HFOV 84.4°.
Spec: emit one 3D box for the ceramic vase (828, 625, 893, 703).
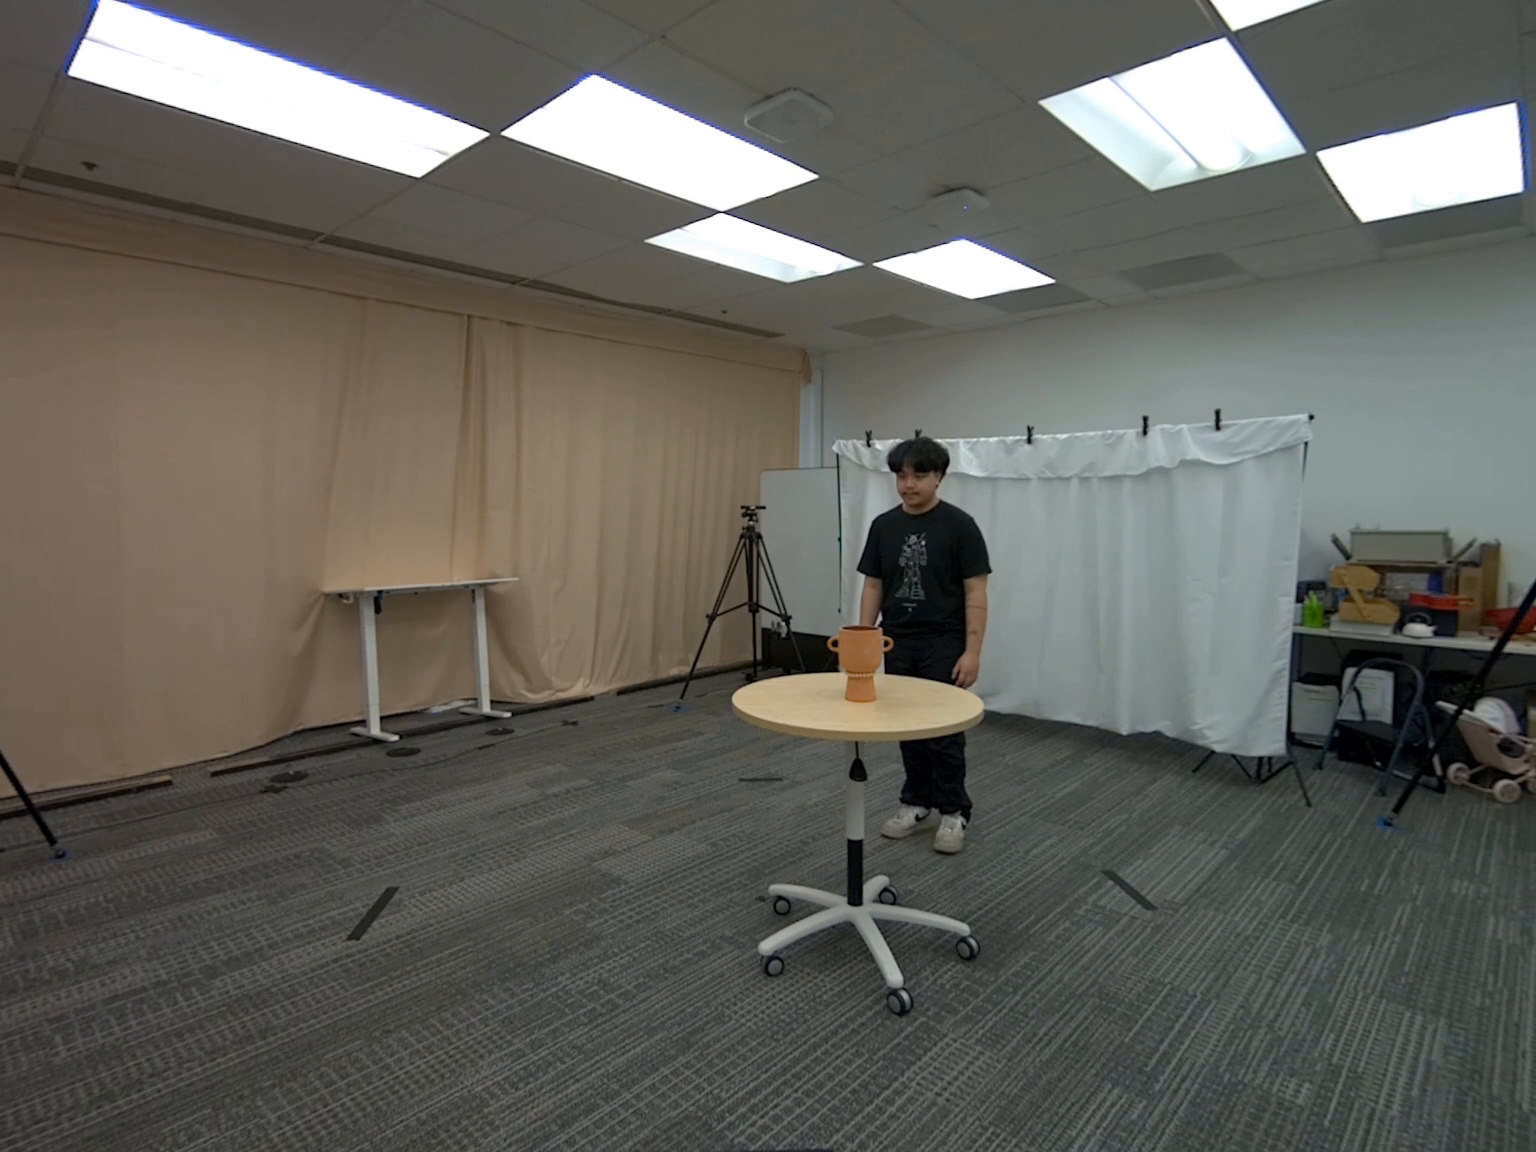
[{"bbox_3d":[0.292,0.272,2.598,0.164,0.219,0.130,2,4,42],"label":"ceramic vase"}]
